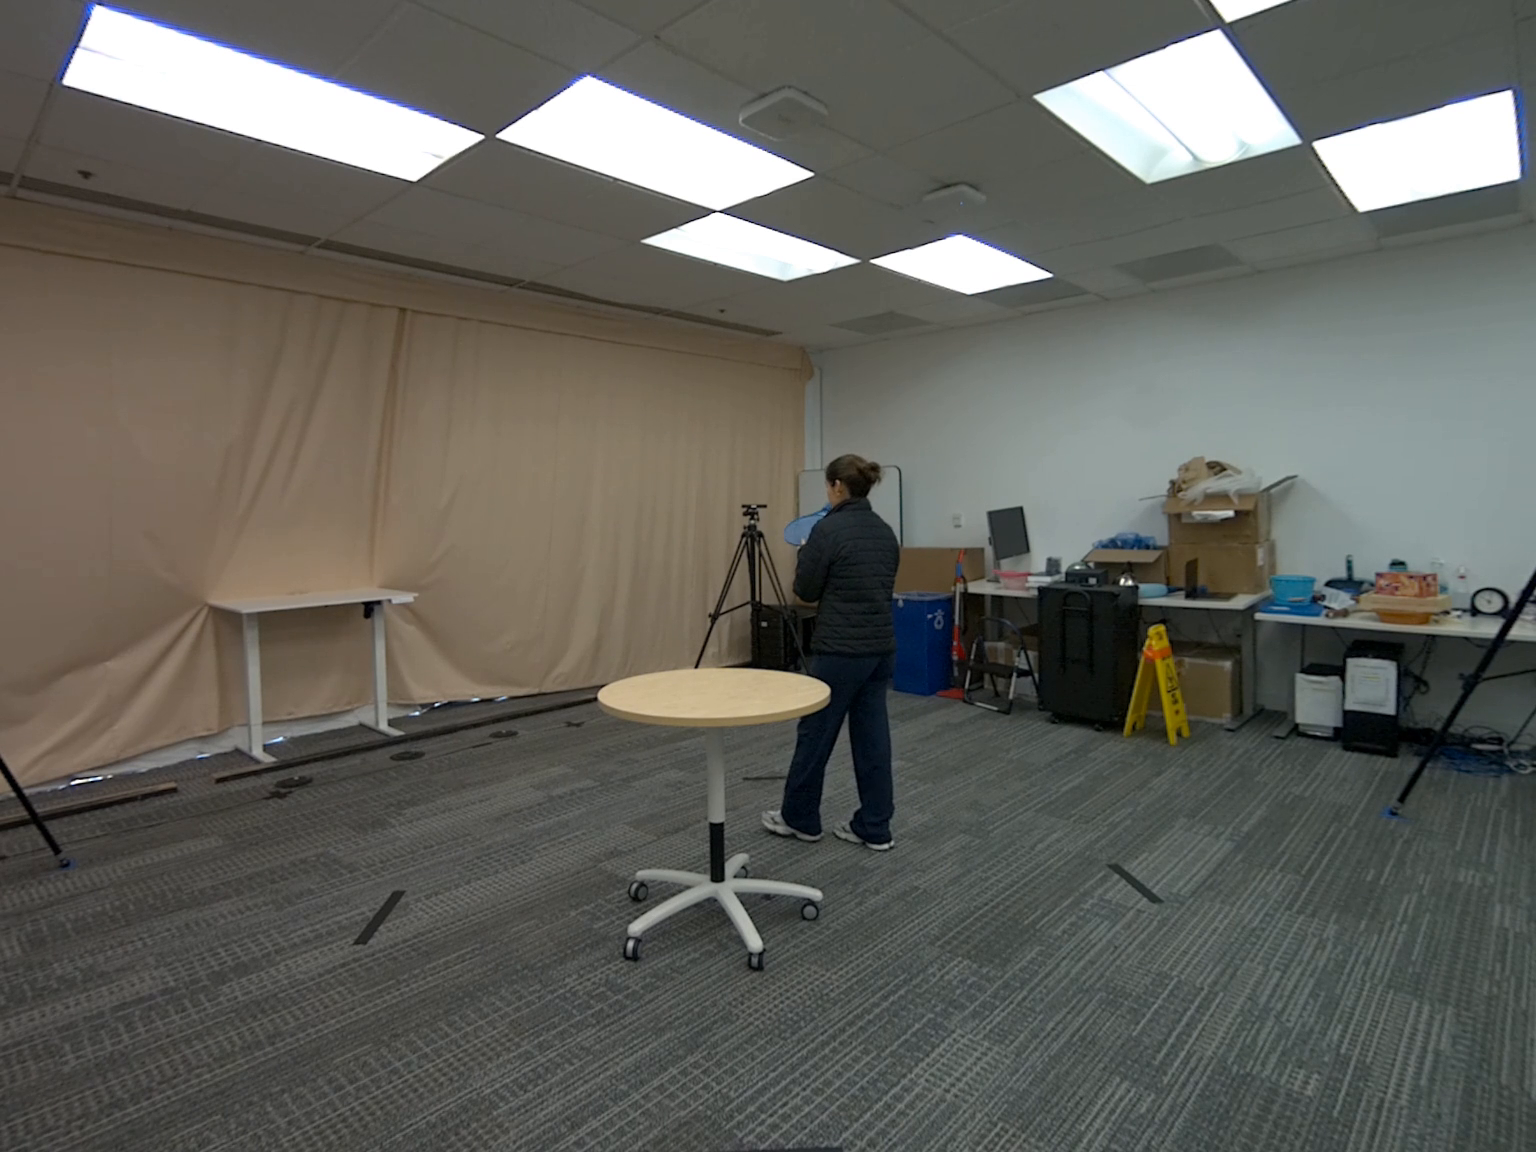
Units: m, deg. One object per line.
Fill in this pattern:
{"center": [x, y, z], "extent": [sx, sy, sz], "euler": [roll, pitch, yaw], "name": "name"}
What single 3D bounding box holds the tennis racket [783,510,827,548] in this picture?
{"center": [0.238, -0.247, 3.777], "extent": [0.220, 0.031, 0.429], "euler": [11, 36, 24], "name": "tennis racket"}
